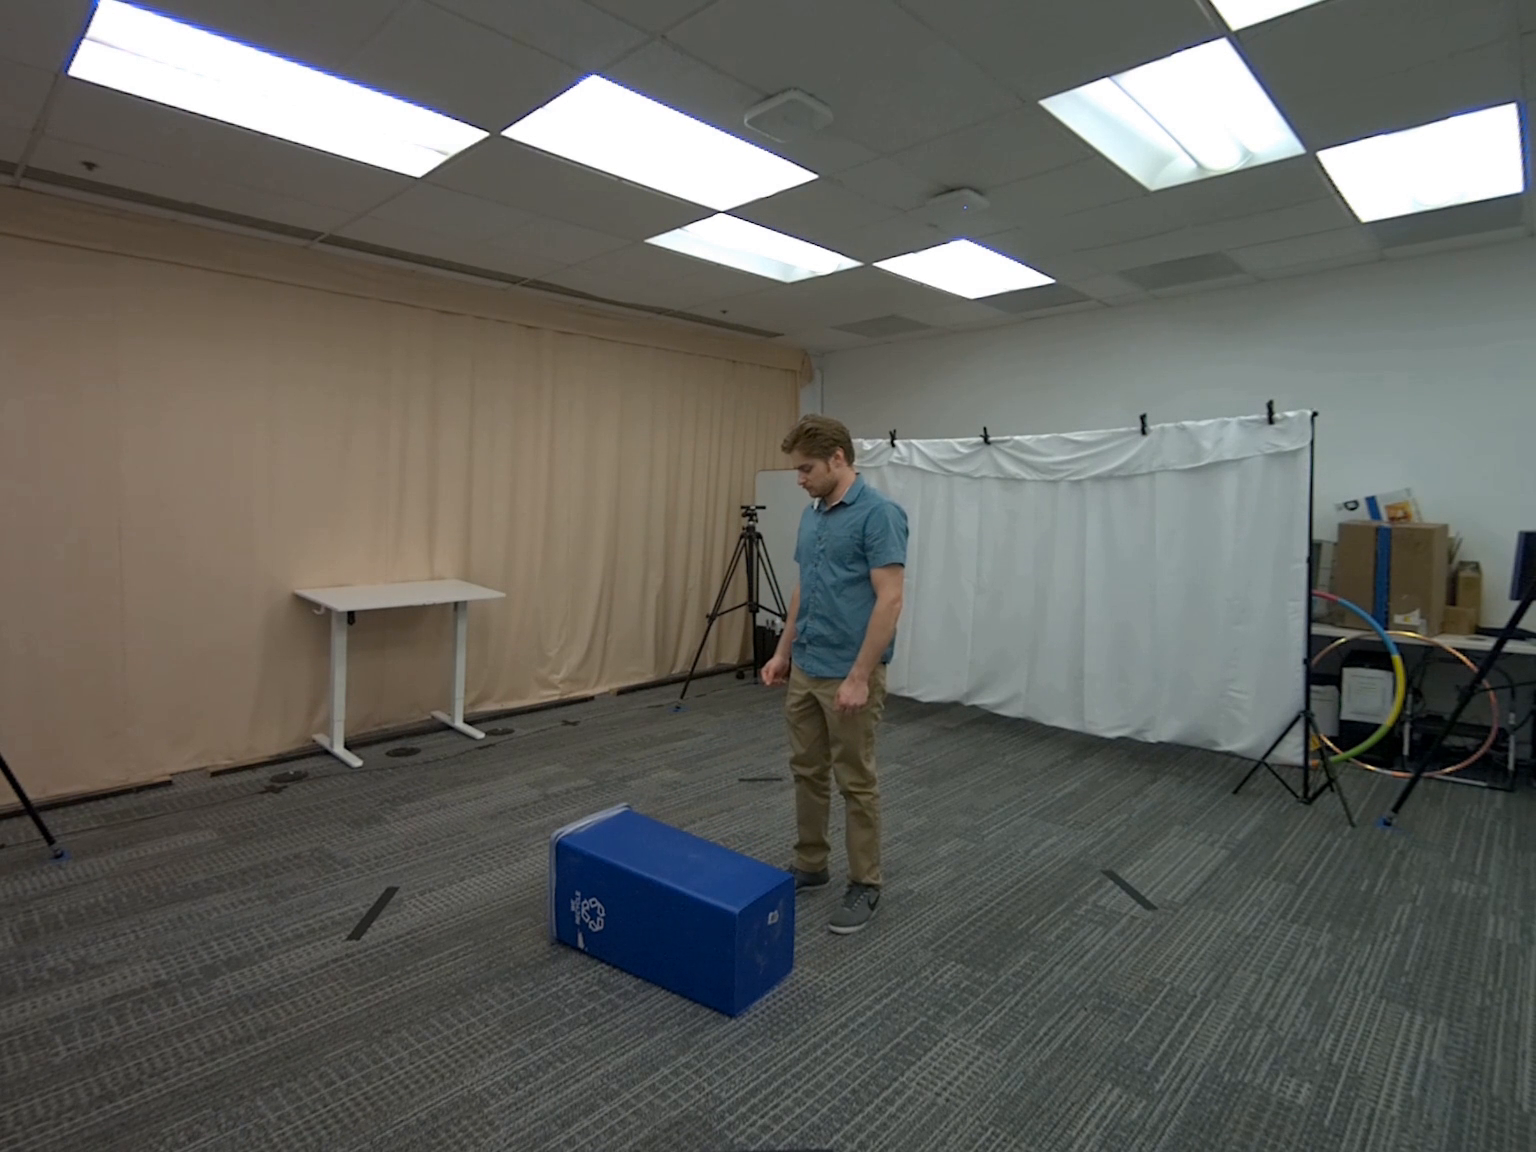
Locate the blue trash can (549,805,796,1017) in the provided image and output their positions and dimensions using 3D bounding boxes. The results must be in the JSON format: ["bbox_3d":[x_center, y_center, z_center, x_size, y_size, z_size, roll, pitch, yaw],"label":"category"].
[{"bbox_3d":[-0.295,1.015,2.602,0.737,0.377,0.363,6,6,35],"label":"blue trash can"}]
